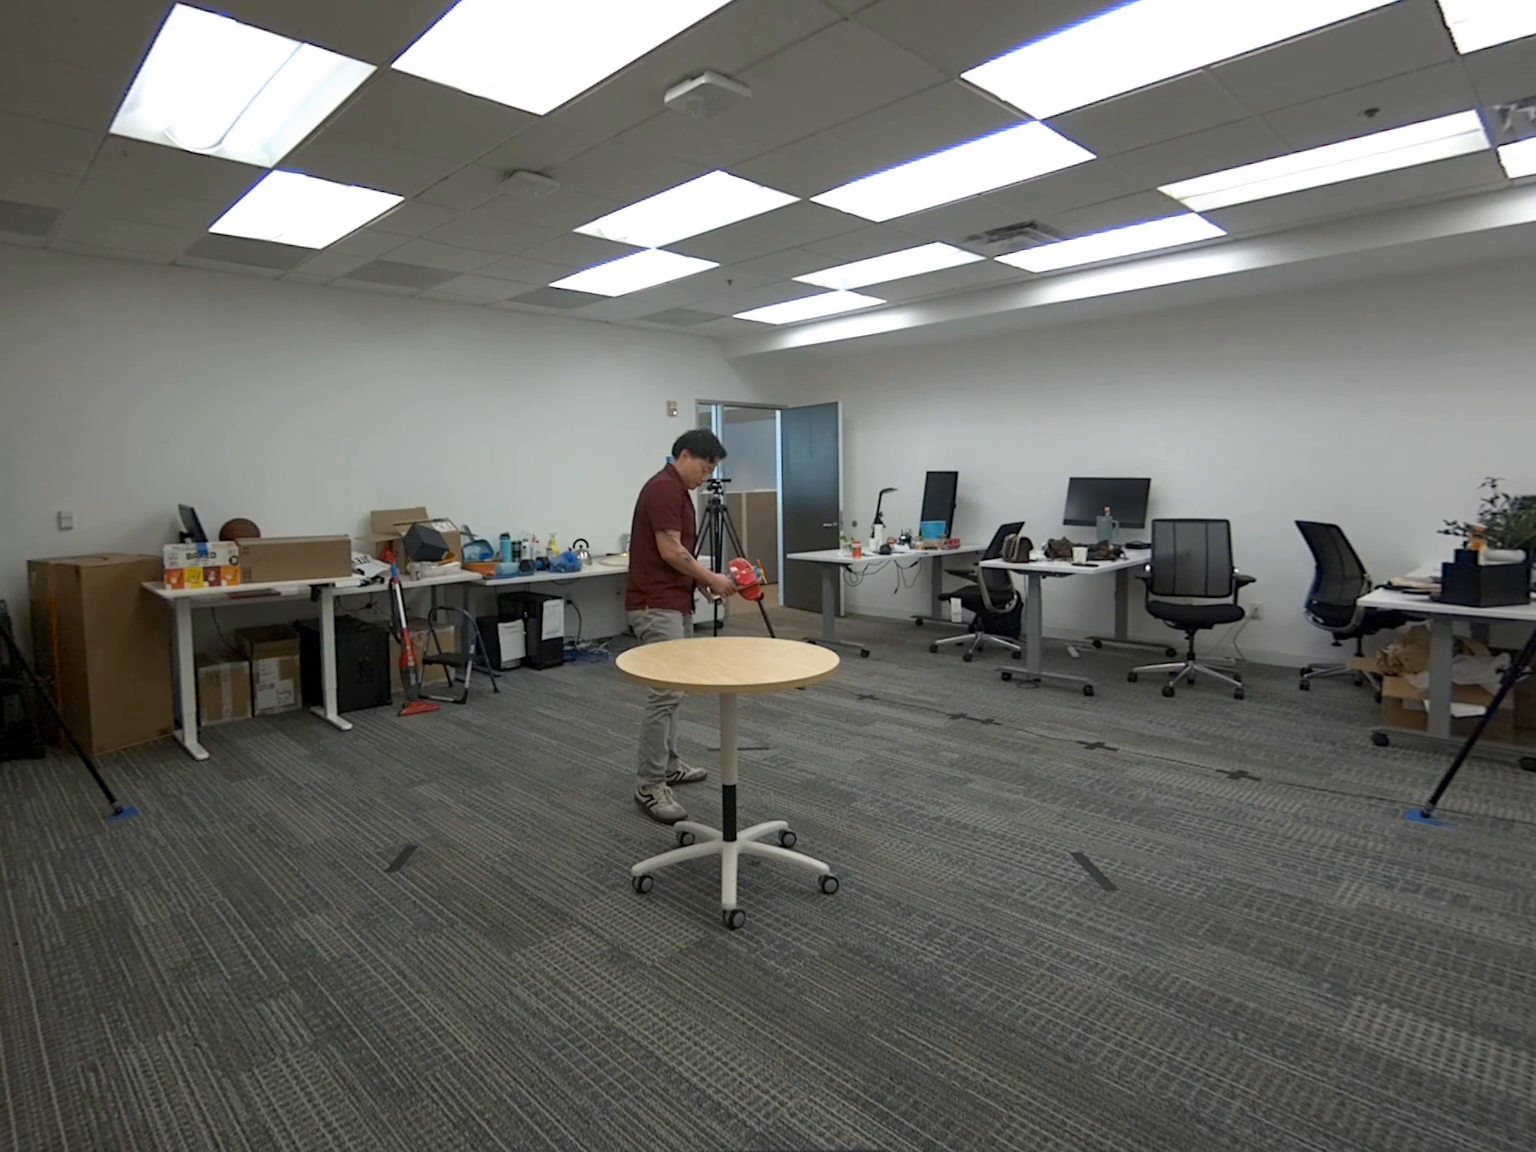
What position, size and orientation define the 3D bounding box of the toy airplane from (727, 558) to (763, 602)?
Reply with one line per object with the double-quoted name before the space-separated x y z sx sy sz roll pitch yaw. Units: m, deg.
"toy airplane" -0.143 0.049 3.837 0.255 0.153 0.260 -25 32 -38
